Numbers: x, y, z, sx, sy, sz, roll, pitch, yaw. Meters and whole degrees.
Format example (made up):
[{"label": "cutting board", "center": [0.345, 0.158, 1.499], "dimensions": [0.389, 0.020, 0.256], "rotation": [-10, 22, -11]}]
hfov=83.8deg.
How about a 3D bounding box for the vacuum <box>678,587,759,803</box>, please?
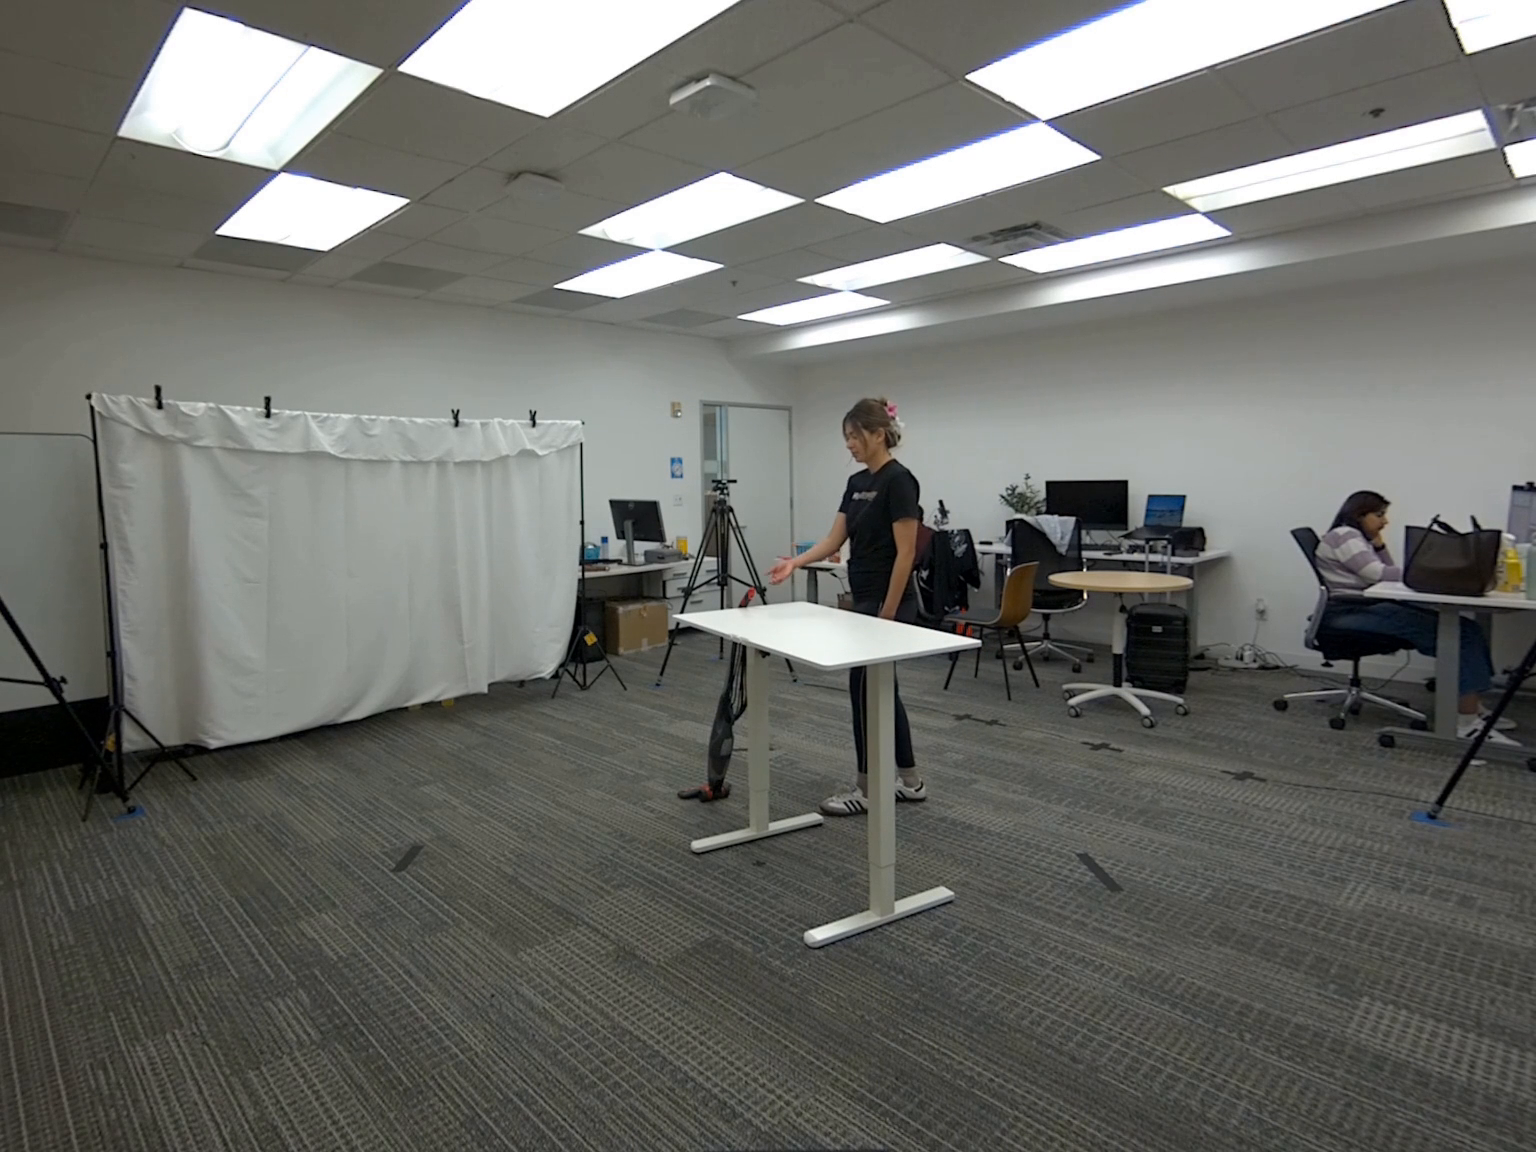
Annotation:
[{"label": "vacuum", "center": [-0.158, 0.526, 3.581], "dimensions": [0.247, 1.033, 0.149], "rotation": [-11, 34, -42]}]
